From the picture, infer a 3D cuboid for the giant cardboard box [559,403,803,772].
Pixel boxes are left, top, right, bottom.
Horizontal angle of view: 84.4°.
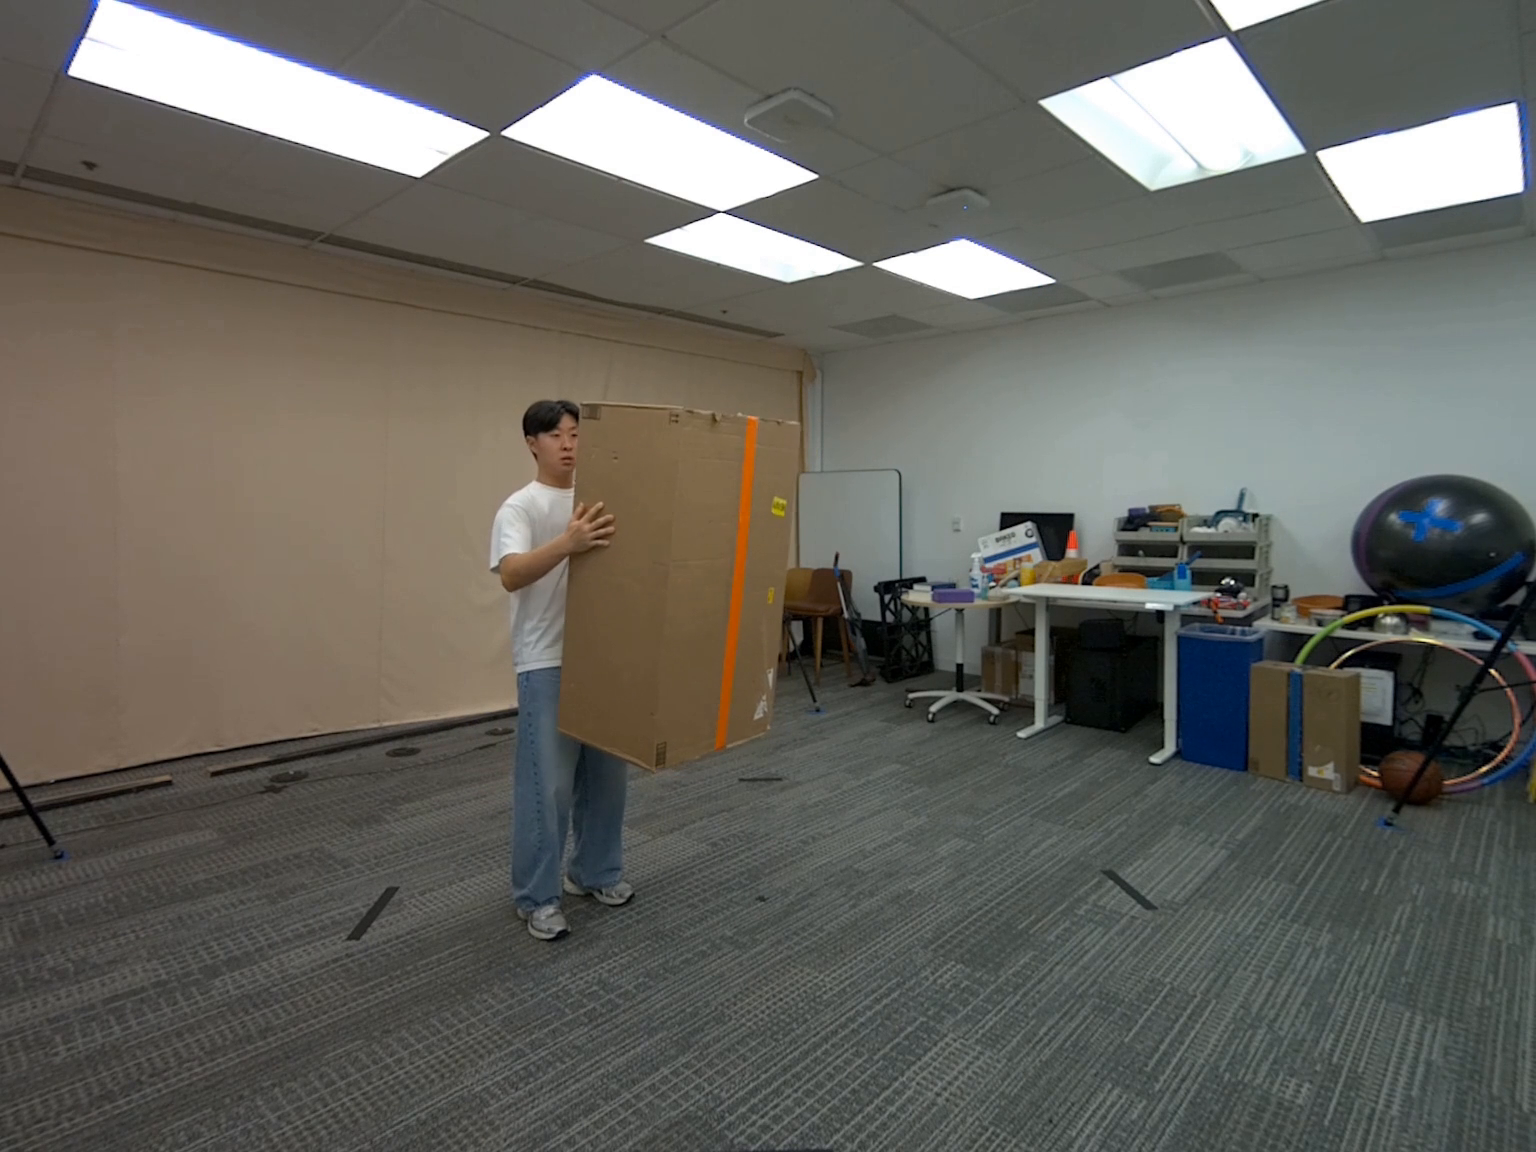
[{"bbox_3d":[-0.274,0.002,2.647,0.441,1.022,0.560,11,9,36],"label":"giant cardboard box"}]
